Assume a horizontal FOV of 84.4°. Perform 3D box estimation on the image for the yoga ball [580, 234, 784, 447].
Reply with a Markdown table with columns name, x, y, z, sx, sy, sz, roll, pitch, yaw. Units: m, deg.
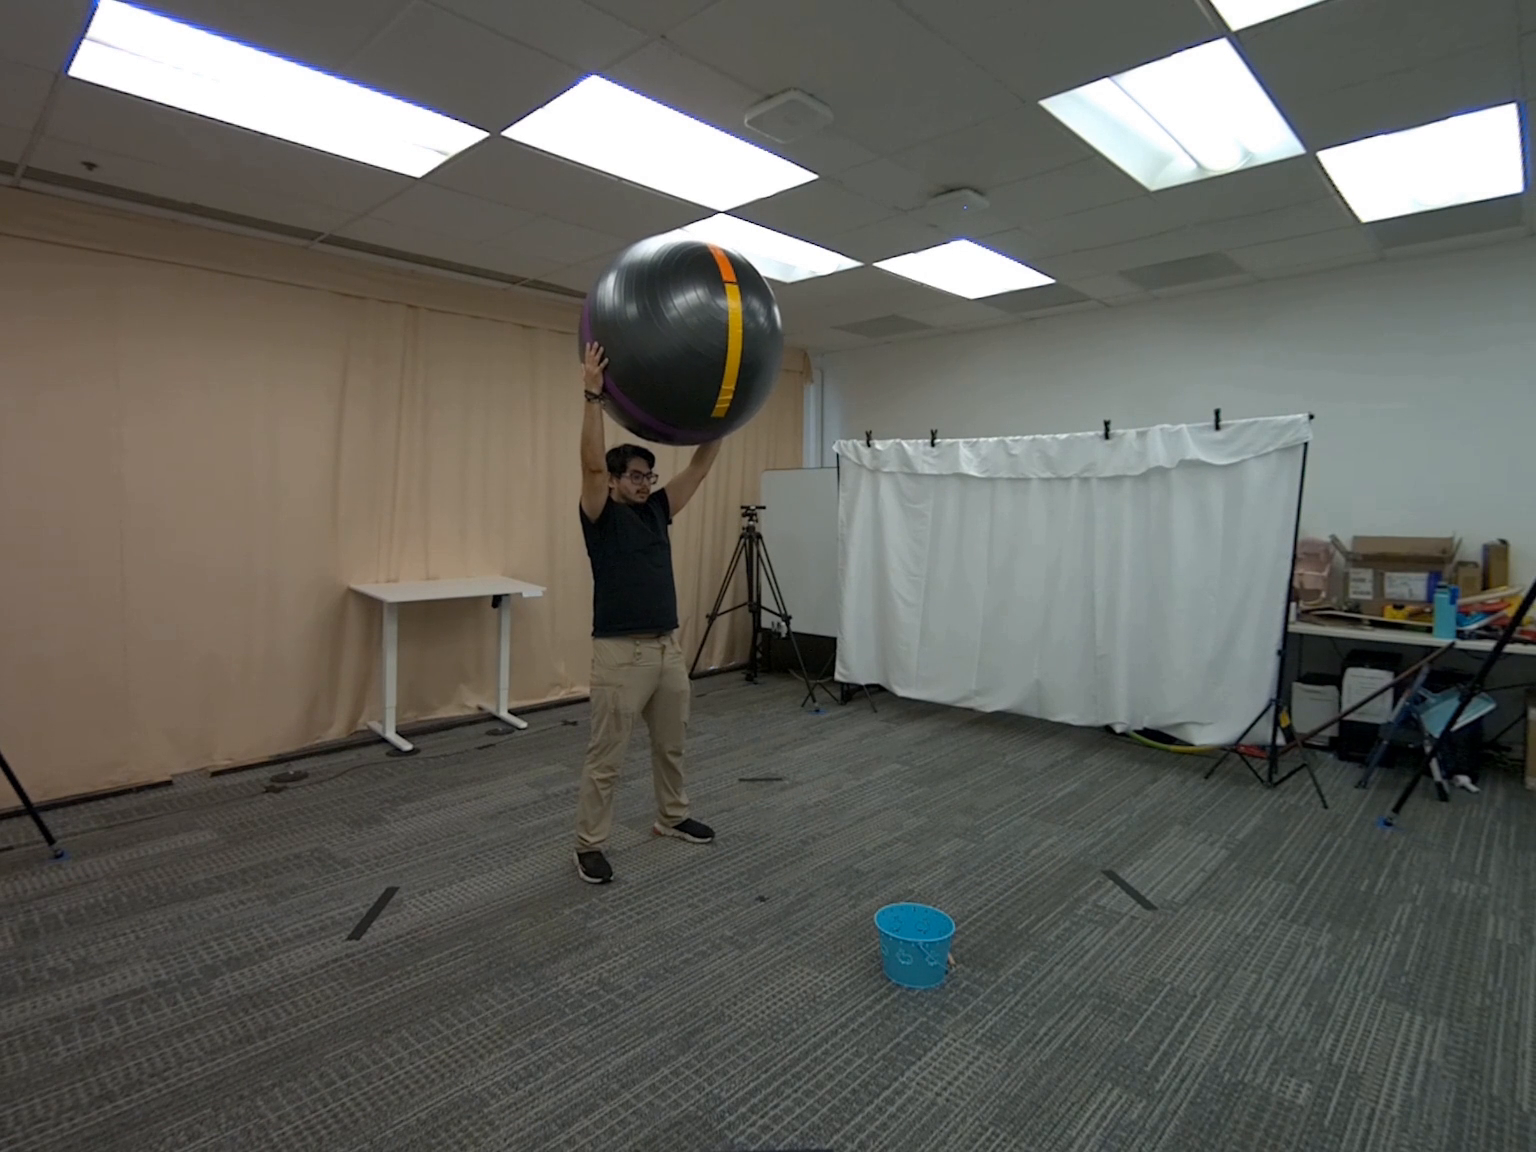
| name | x | y | z | sx | sy | sz | roll | pitch | yaw |
| --- | --- | --- | --- | --- | --- | --- | --- | --- | --- |
| yoga ball | -0.322 | -0.855 | 3.105 | 0.757 | 0.756 | 0.761 | 0 | 4 | -2 |
